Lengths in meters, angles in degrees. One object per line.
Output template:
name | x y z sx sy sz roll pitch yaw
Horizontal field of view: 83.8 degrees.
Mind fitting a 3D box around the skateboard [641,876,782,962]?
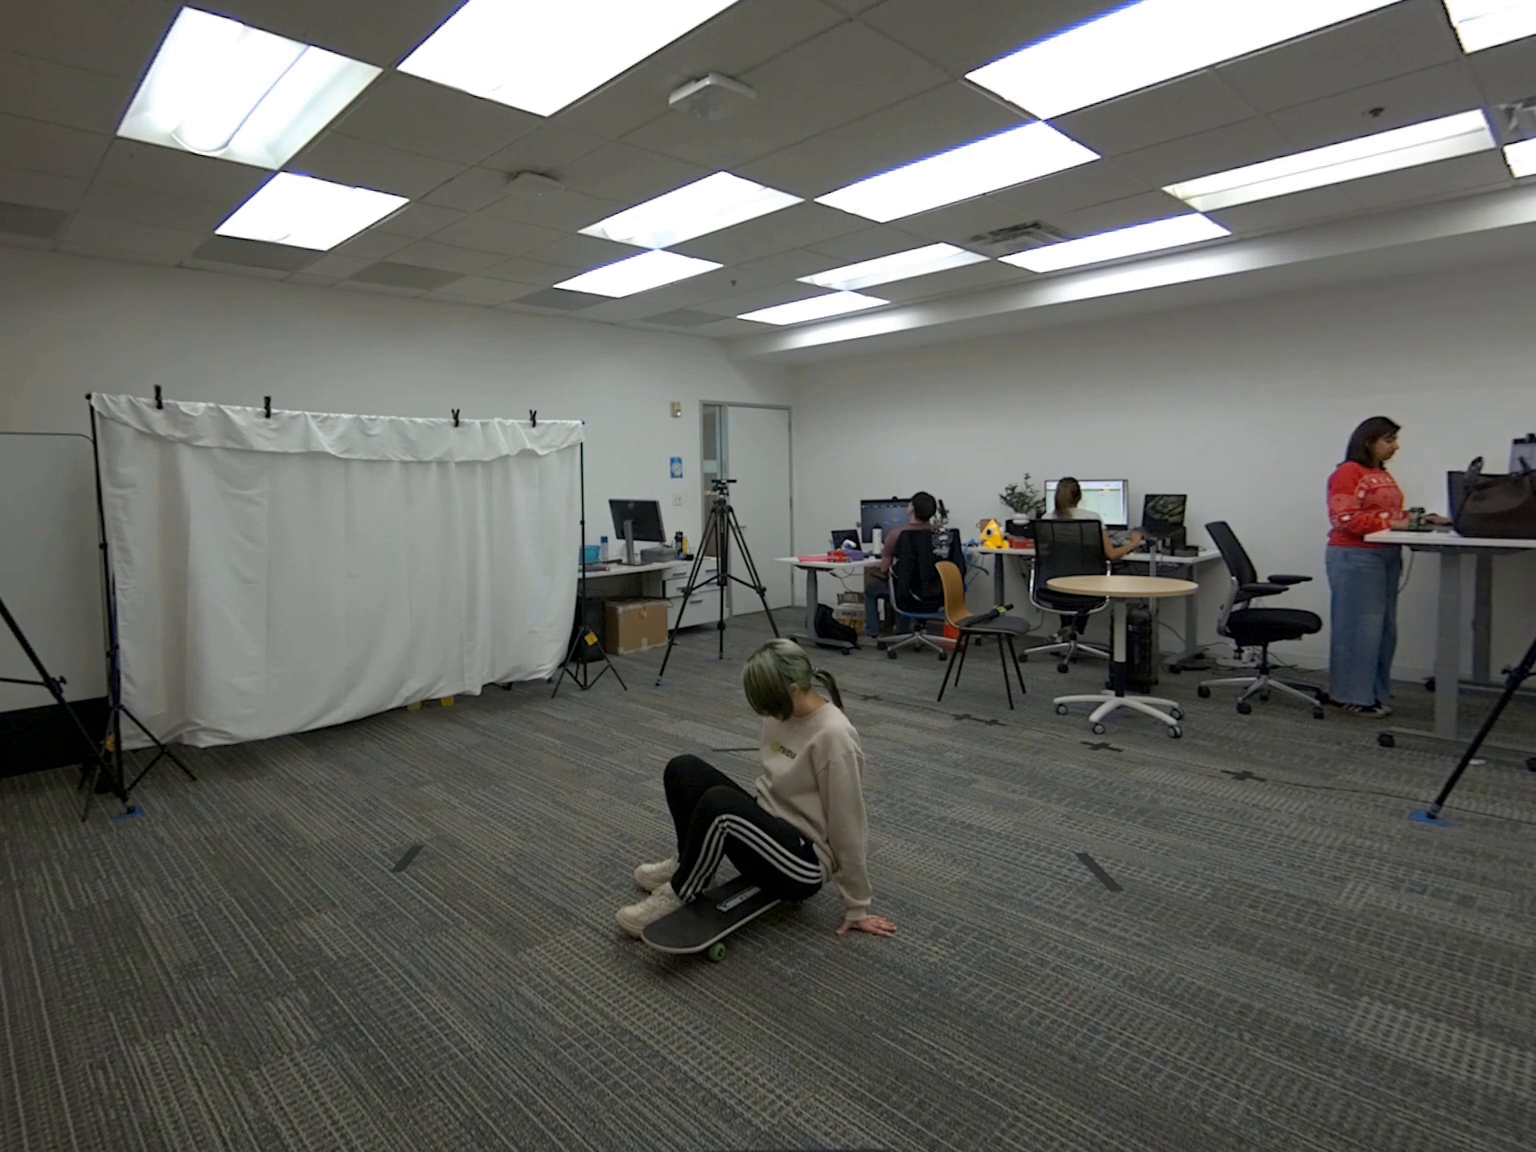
skateboard | -0.085 1.038 2.692 0.199 0.110 0.765 6 8 40
